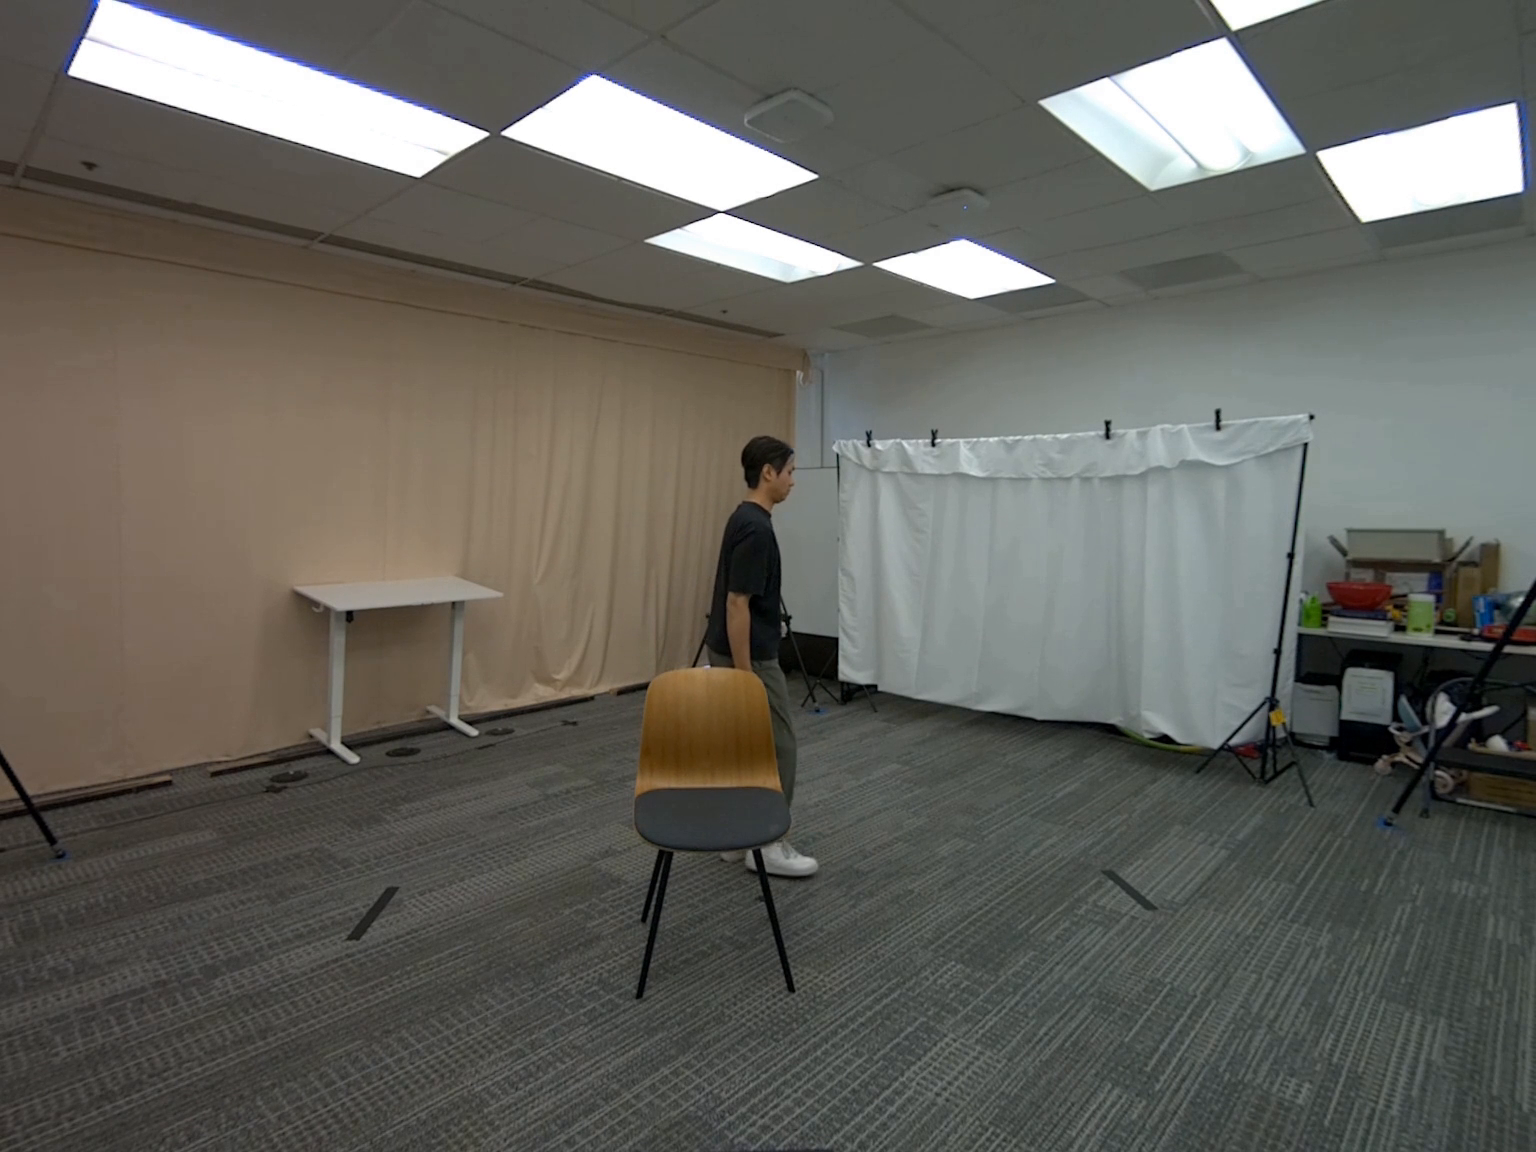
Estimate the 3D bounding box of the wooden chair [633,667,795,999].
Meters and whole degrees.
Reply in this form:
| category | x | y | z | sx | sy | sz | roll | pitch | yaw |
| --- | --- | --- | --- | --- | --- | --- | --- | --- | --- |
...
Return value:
| category | x | y | z | sx | sy | sz | roll | pitch | yaw |
| --- | --- | --- | --- | --- | --- | --- | --- | --- | --- |
| wooden chair | -0.164 | 0.749 | 2.580 | 0.475 | 0.878 | 0.526 | 0 | -1 | -6 |
